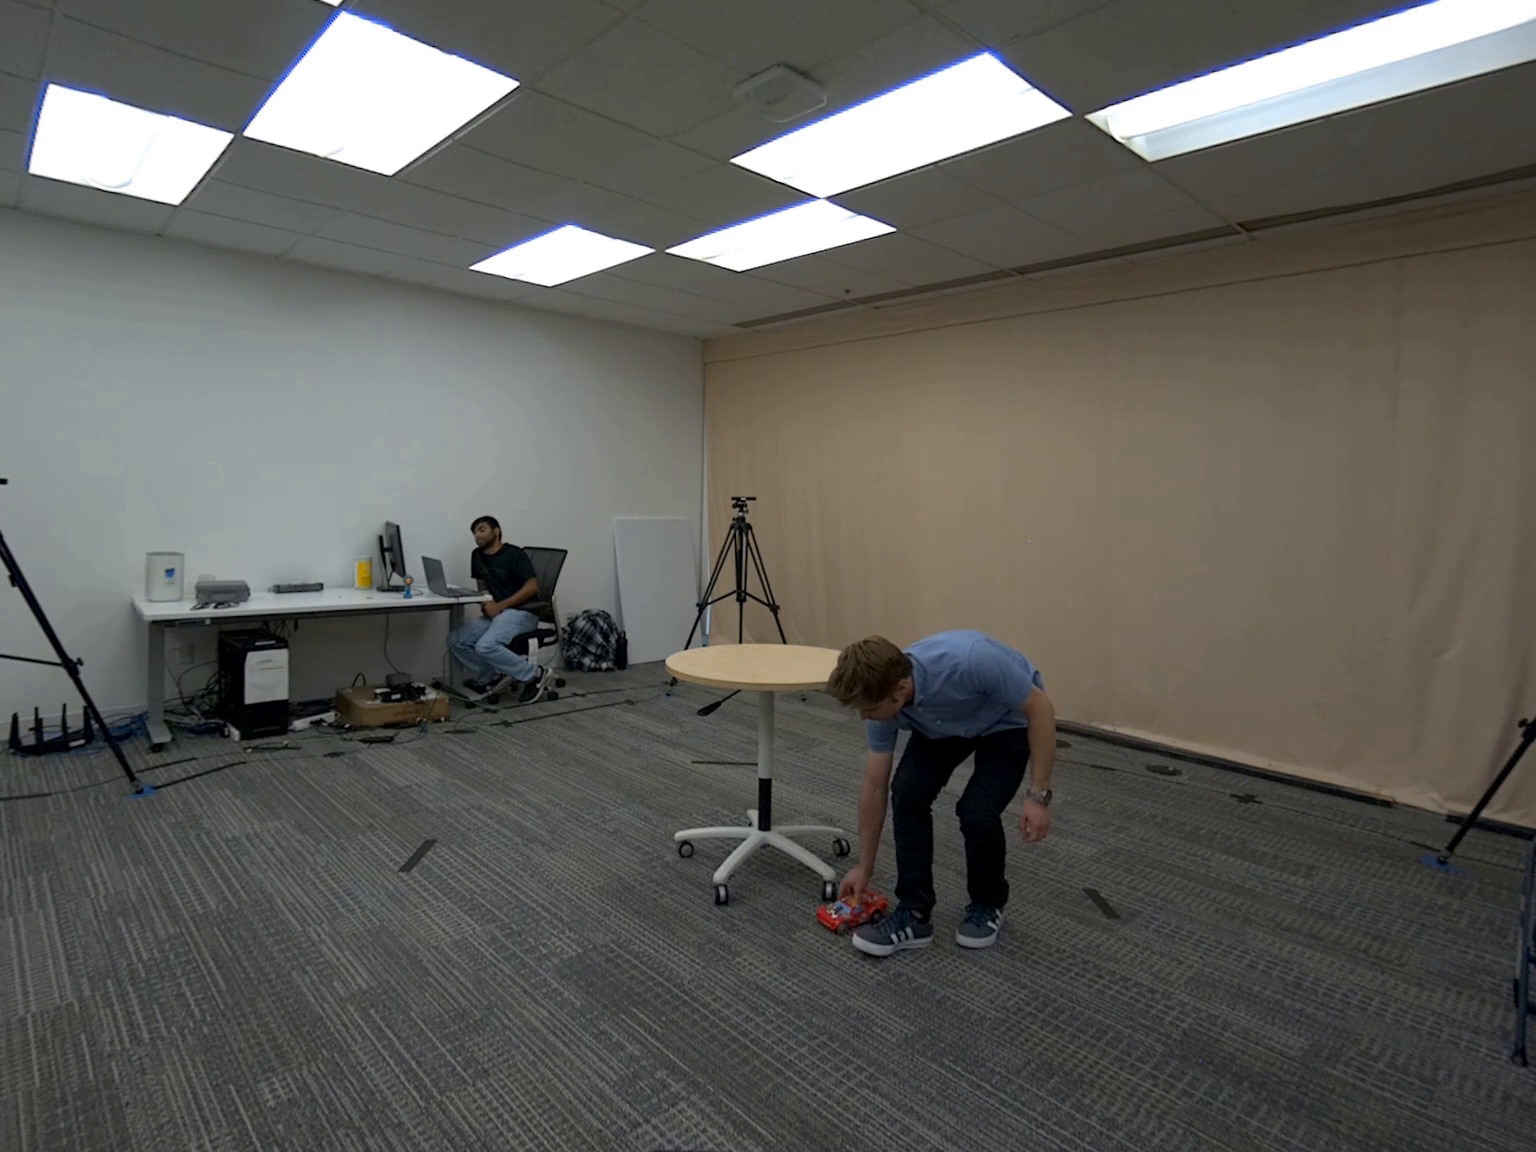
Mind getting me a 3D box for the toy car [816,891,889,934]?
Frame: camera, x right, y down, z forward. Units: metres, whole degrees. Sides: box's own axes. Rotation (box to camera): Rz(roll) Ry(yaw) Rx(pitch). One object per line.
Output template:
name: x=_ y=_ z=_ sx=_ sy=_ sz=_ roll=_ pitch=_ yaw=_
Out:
toy car: x=0.279 y=1.114 z=2.791 sx=0.251 sy=0.082 sz=0.133 roll=-15 pitch=13 yaw=-30
